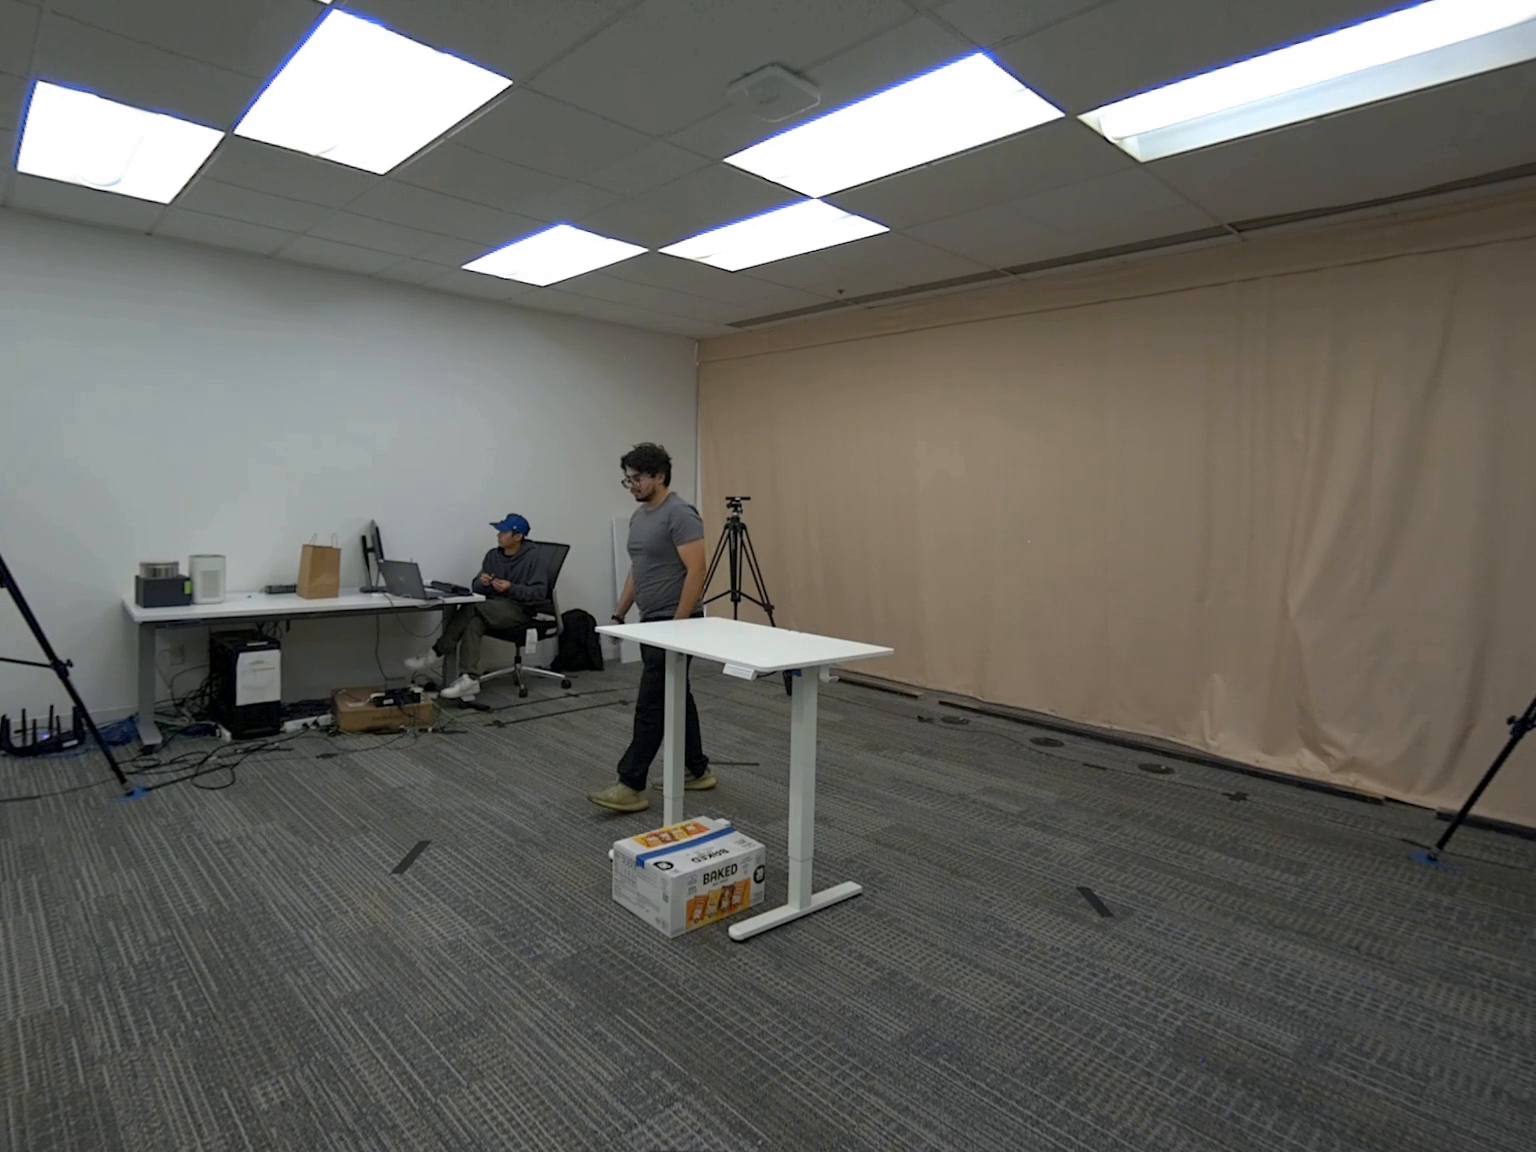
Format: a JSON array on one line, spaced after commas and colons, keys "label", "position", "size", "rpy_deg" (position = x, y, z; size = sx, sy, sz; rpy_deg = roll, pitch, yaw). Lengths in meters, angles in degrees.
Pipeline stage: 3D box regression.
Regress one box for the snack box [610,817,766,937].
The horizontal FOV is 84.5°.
[{"label": "snack box", "position": [-0.277, 1.023, 2.890], "size": [0.396, 0.205, 0.349], "rpy_deg": [-3, 6, -42]}]
